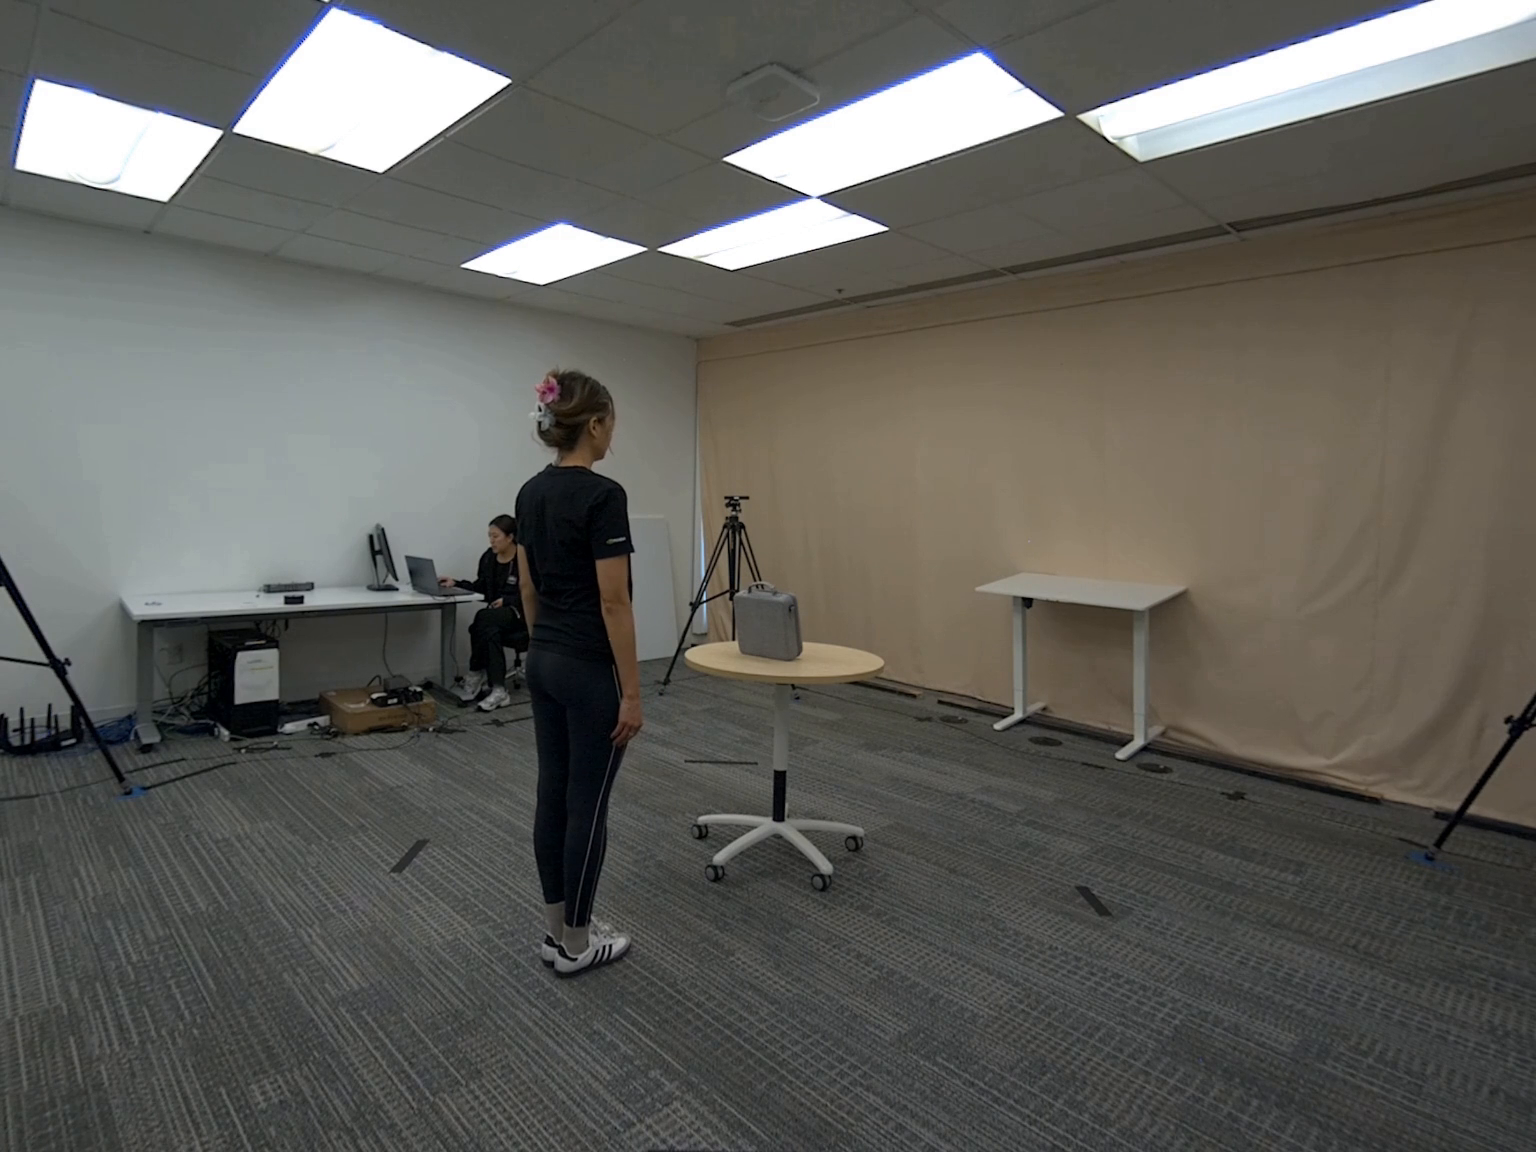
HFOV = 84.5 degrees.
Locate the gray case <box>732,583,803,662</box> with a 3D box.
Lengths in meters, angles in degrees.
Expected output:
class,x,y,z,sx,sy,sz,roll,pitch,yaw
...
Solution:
class,x,y,z,sx,sy,sz,roll,pitch,yaw
gray case,-0.006,0.180,3.218,0.263,0.258,0.103,3,16,37
